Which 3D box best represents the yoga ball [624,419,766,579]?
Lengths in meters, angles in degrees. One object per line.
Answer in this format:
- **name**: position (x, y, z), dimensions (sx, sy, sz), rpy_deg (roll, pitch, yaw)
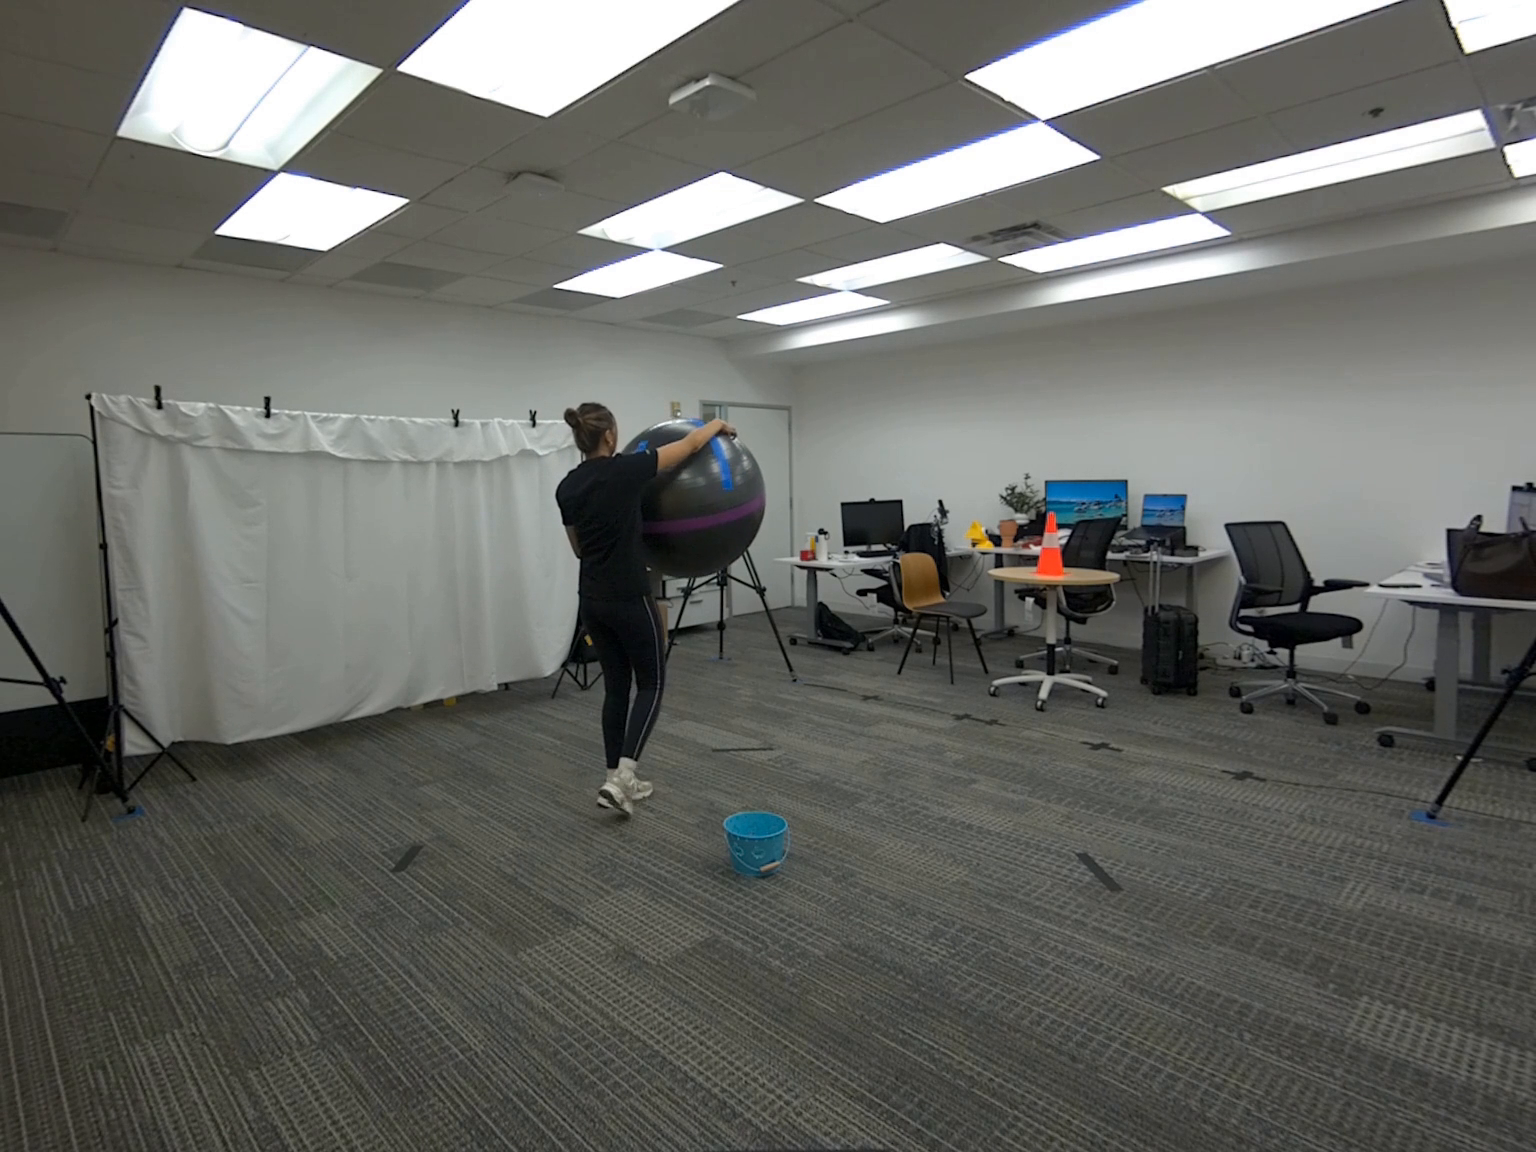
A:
- **yoga ball**: position (-0.400, -0.362, 4.088), dimensions (0.757, 0.755, 0.762), rpy_deg (-1, 5, -2)
